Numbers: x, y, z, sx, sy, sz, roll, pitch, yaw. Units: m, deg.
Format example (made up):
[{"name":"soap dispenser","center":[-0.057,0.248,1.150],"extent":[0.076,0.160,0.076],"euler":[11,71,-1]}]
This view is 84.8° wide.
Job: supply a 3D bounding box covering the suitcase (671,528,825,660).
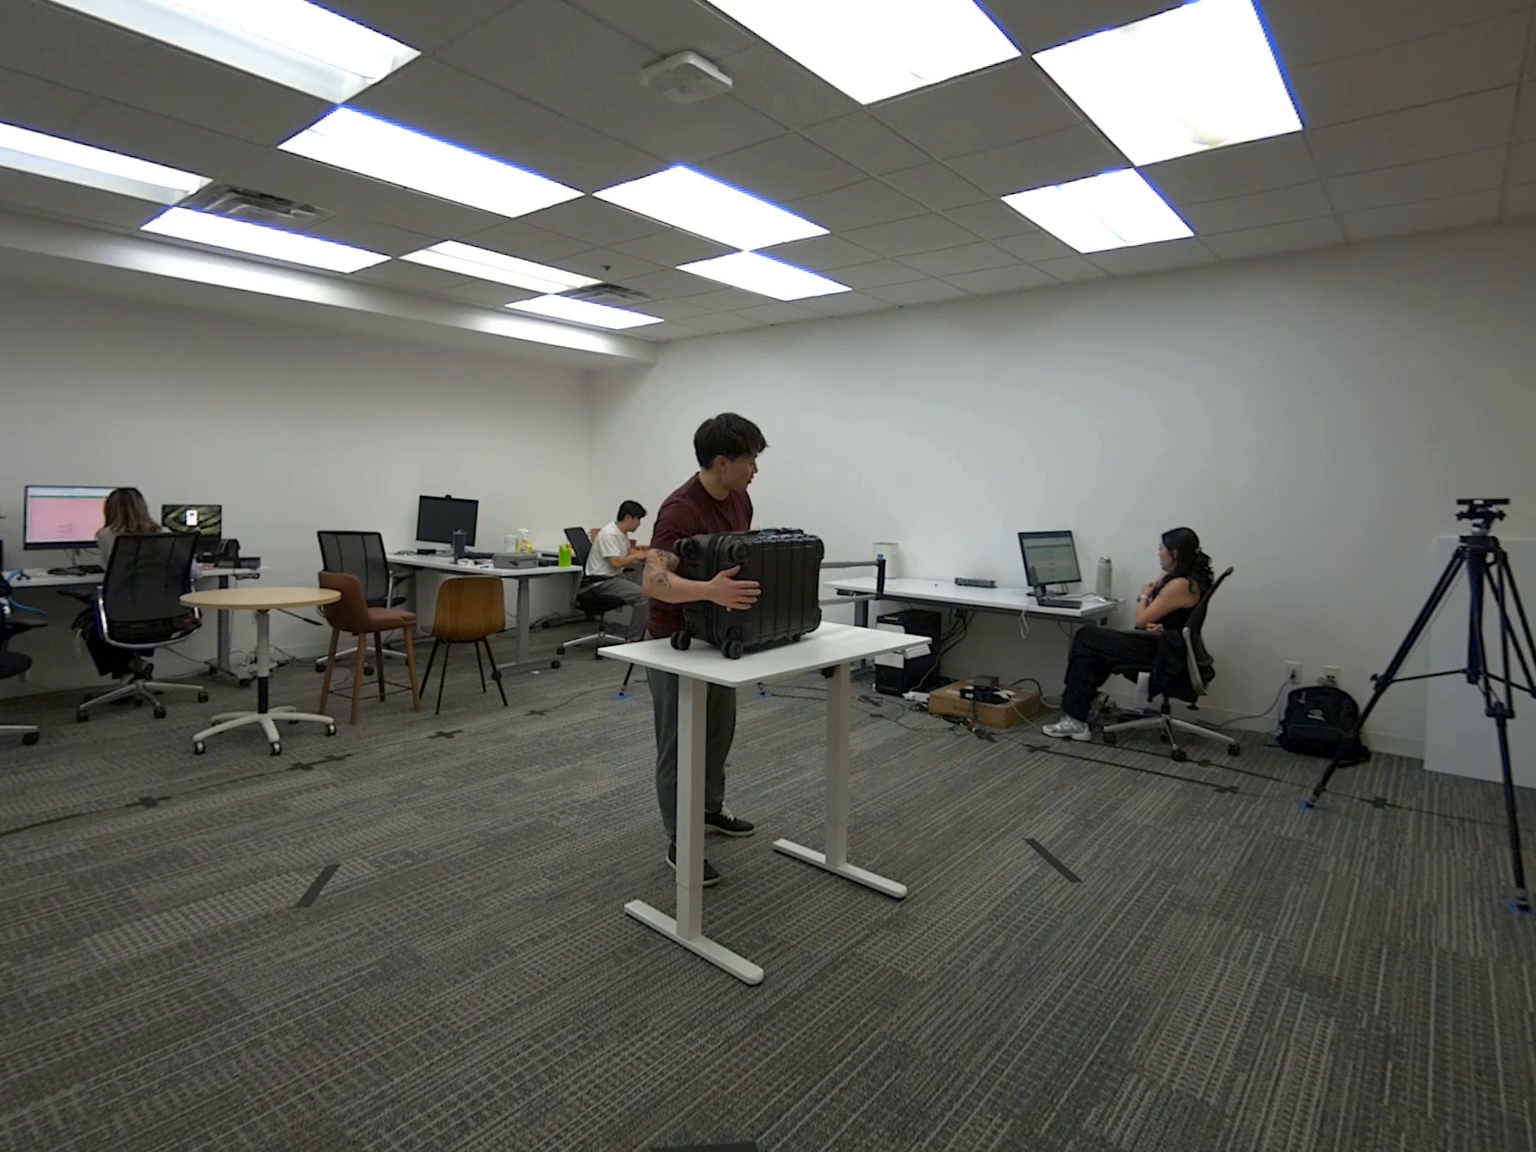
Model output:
[{"name":"suitcase","center":[0.080,0.027,2.954],"extent":[0.265,0.383,0.951],"euler":[2,5,37]}]
